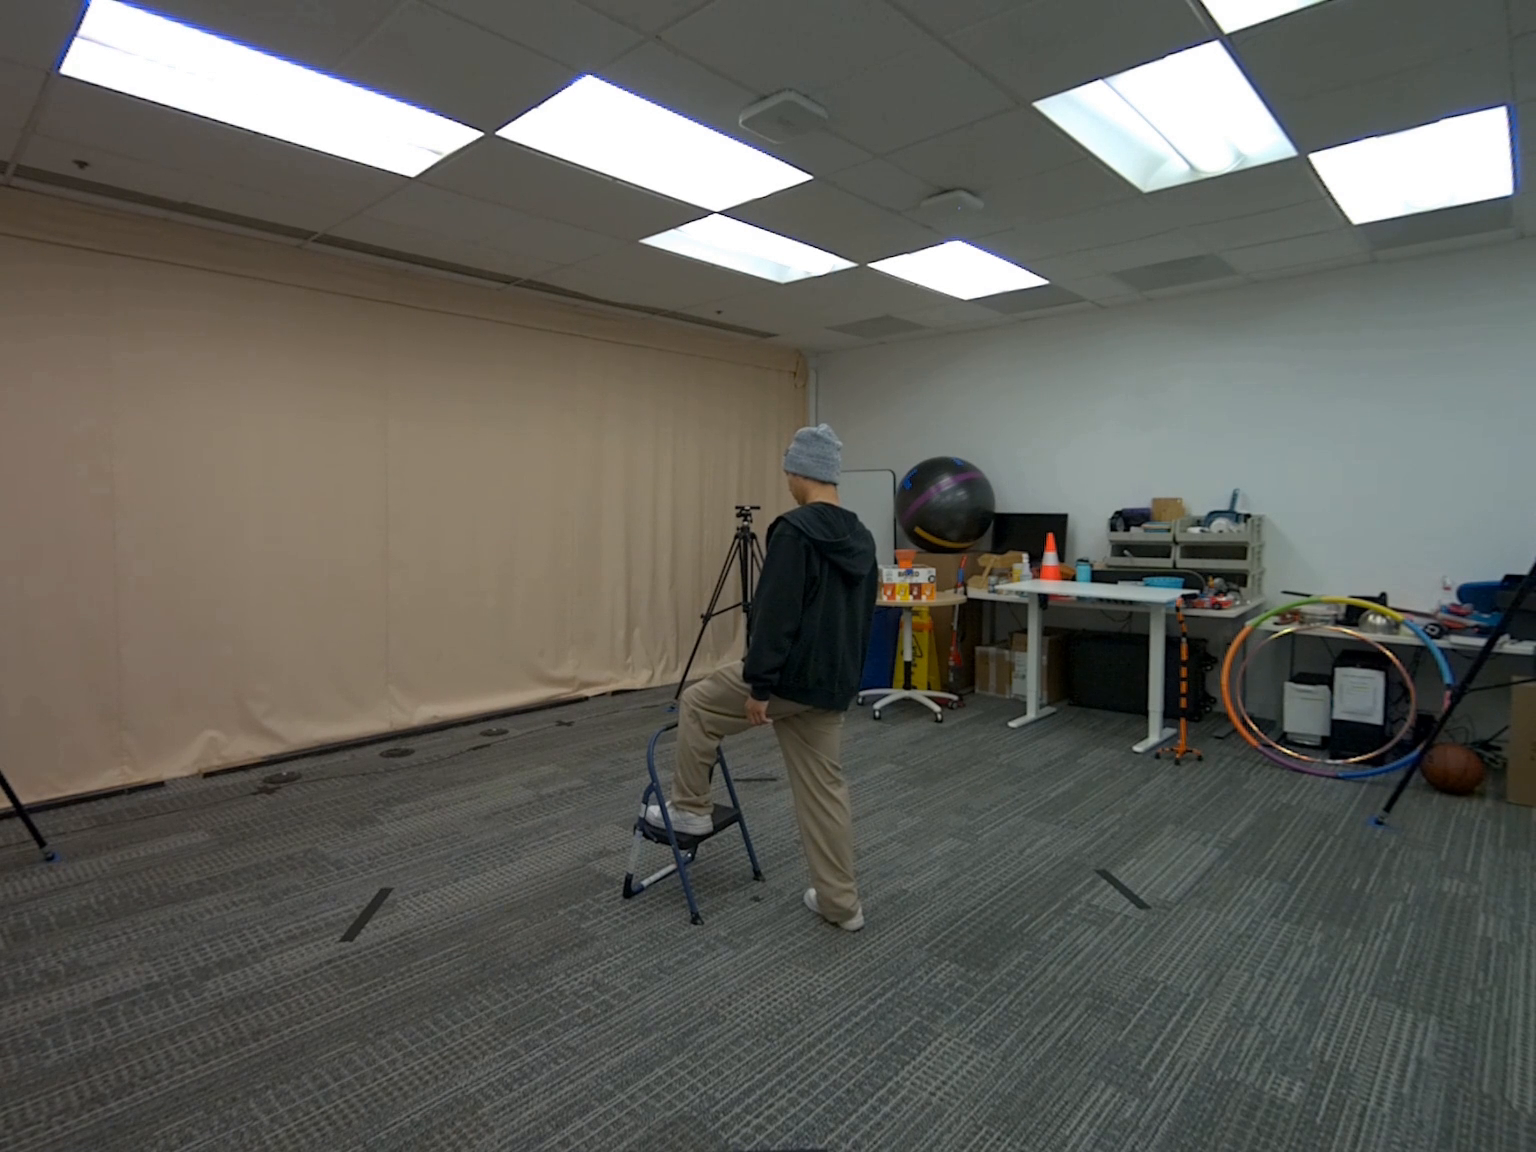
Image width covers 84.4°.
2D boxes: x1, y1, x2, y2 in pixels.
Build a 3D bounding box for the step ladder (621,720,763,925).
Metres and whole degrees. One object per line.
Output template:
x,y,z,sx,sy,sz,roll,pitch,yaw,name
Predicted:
-0.268,0.838,3.055,0.360,0.605,0.419,1,4,33,step ladder
